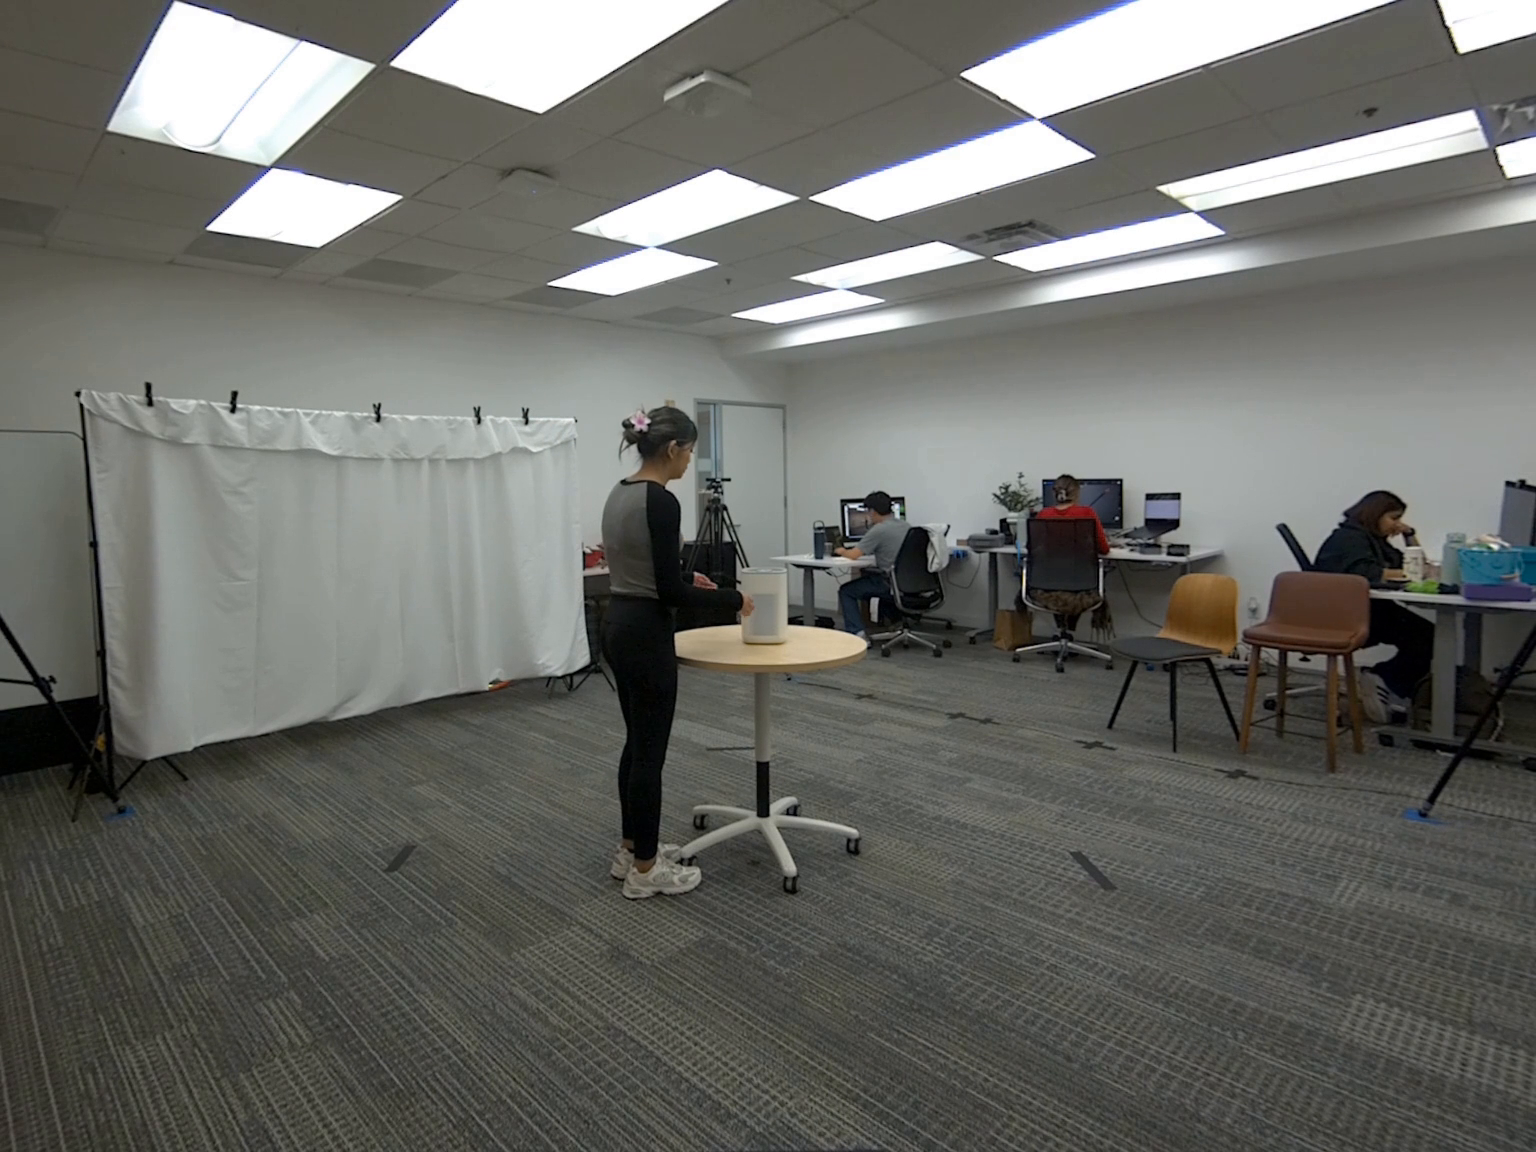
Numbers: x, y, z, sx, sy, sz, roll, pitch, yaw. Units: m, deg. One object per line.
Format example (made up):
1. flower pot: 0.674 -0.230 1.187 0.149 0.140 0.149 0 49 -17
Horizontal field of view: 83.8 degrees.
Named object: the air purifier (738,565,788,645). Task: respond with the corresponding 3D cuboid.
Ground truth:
1. air purifier: -0.009 0.113 3.163 0.172 0.265 0.171 -1 1 0
